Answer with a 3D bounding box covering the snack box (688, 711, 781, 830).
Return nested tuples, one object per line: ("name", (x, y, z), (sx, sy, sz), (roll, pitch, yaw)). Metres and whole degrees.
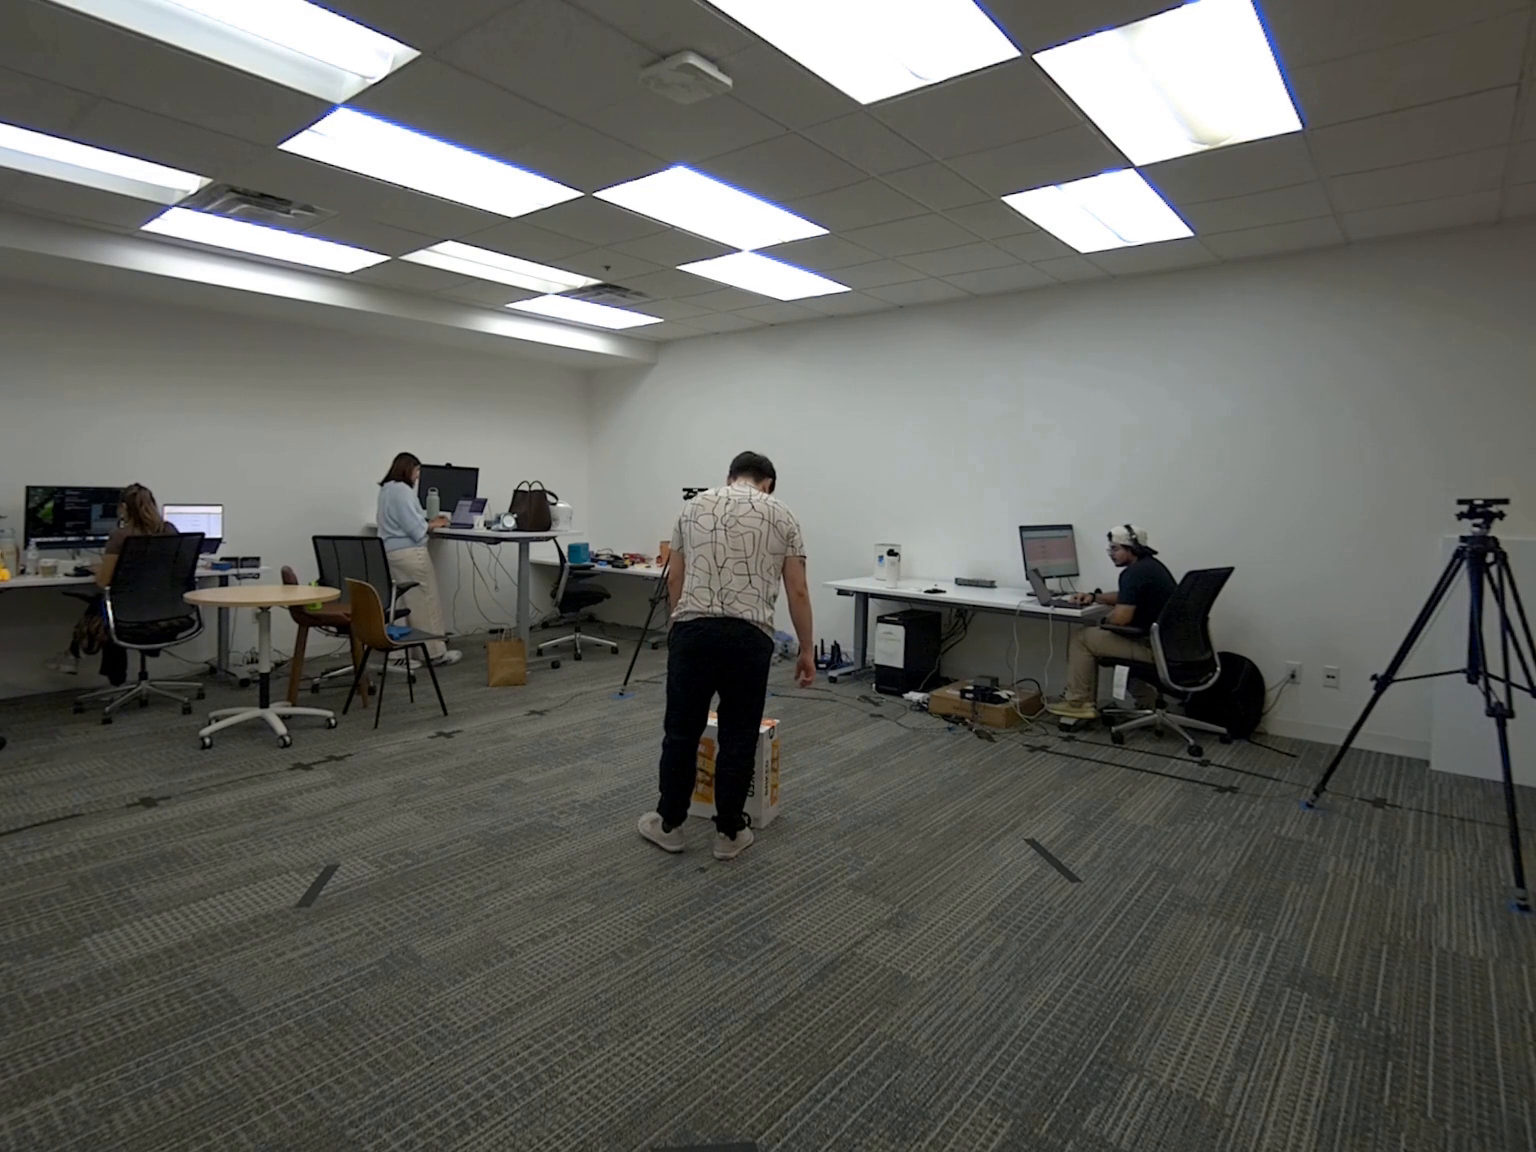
("snack box", (-0.150, 0.816, 3.638), (0.349, 0.404, 0.201), (3, 4, 24))
